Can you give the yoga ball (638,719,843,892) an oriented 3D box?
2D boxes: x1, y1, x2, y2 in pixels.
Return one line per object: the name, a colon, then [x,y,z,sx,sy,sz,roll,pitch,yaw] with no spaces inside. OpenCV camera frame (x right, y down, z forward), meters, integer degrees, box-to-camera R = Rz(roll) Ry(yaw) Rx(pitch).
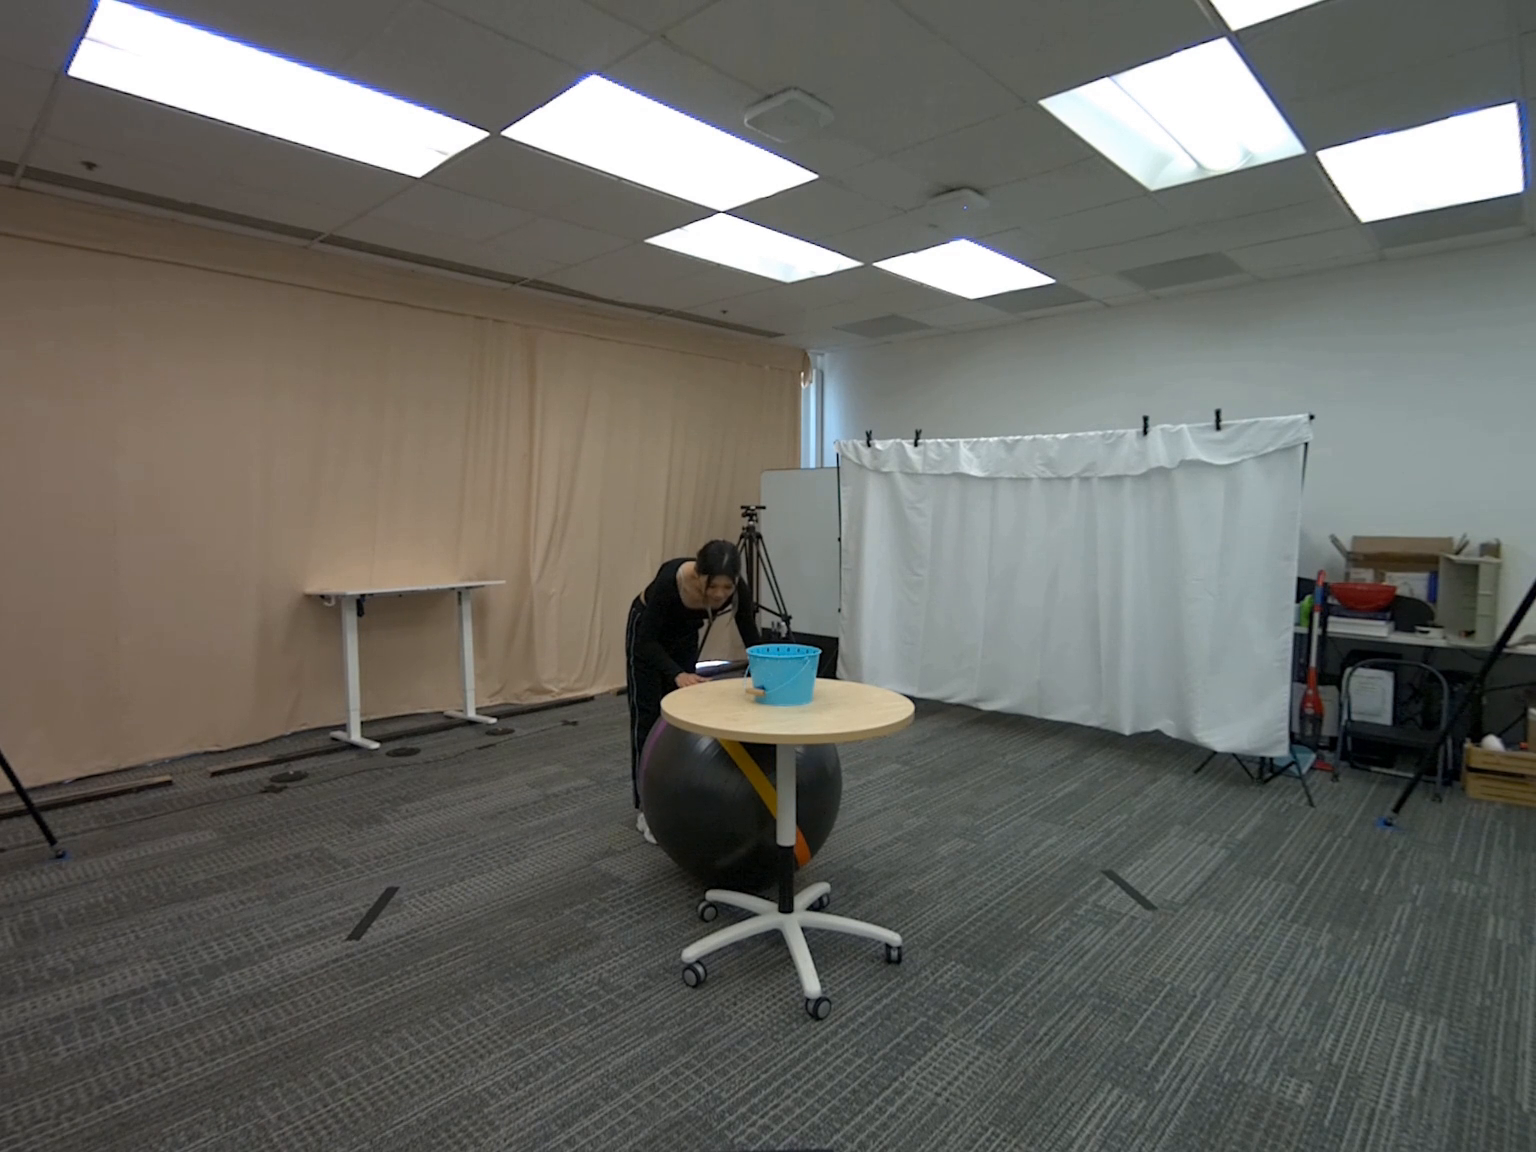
yoga ball: [-0.106,0.763,3.158,0.757,0.756,0.760,0,4,-2]
